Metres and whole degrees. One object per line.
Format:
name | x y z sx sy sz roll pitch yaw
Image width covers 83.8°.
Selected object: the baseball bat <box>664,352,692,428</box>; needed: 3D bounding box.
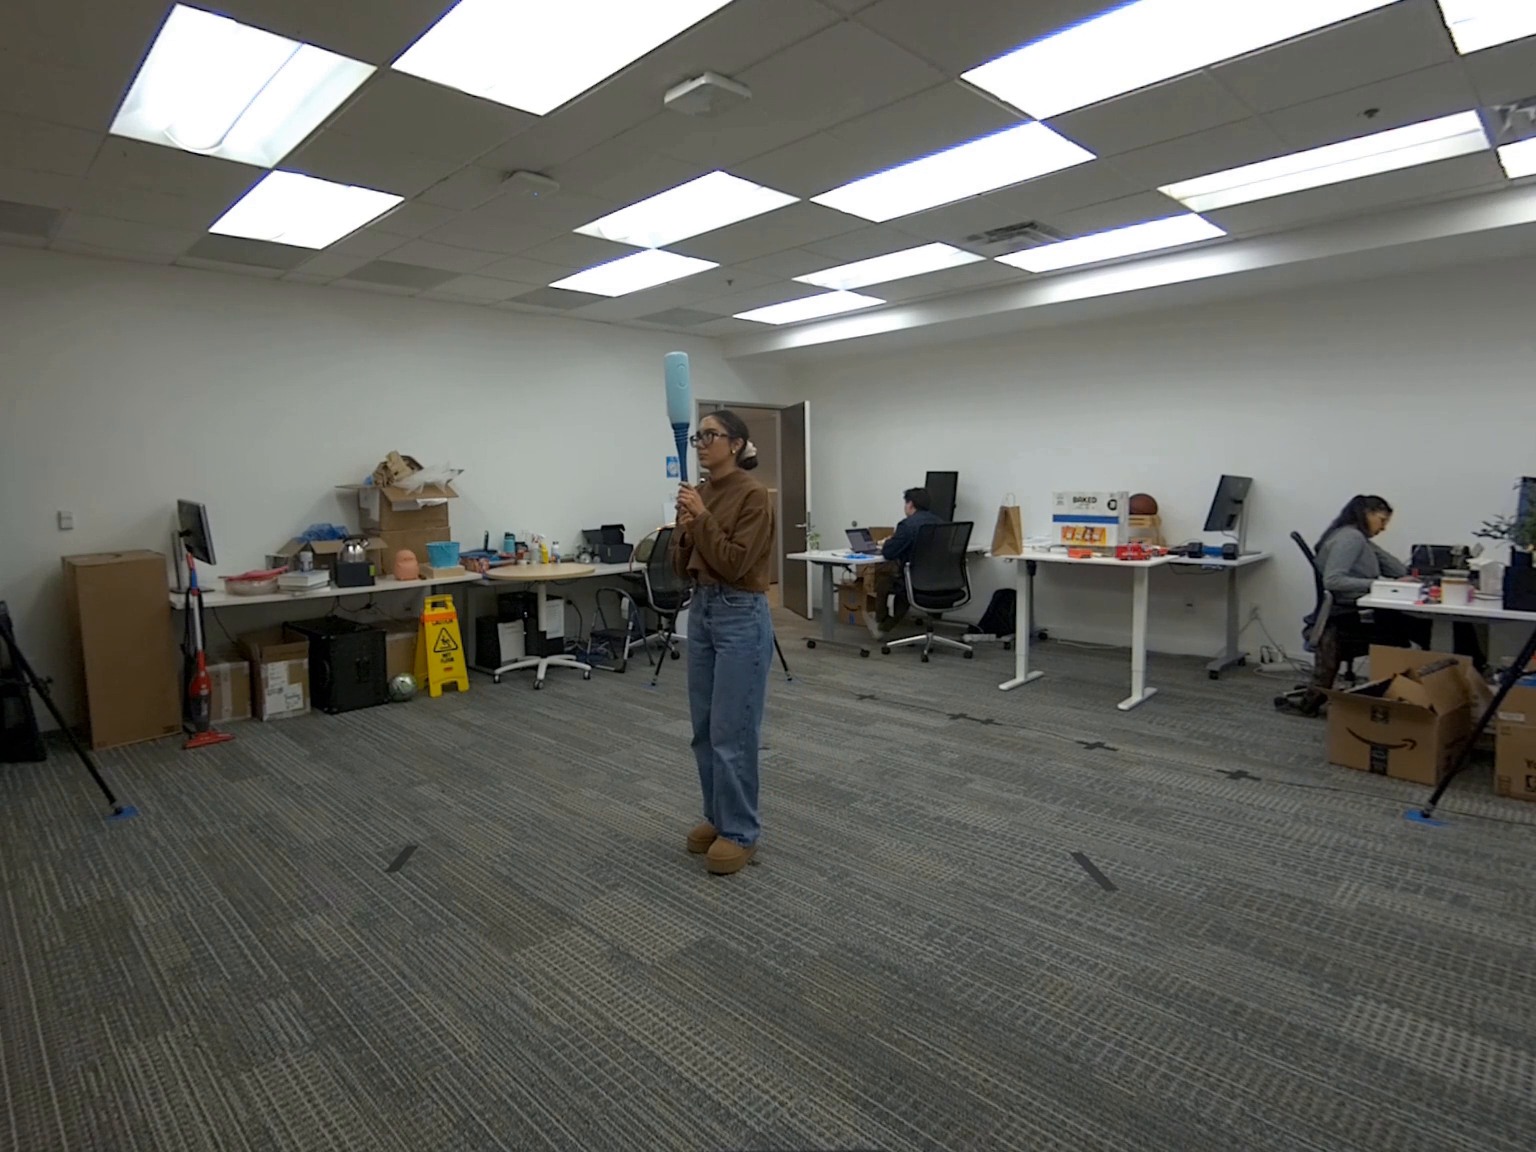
baseball bat | -0.312 -0.526 3.047 0.089 0.541 0.089 -3 4 -1
